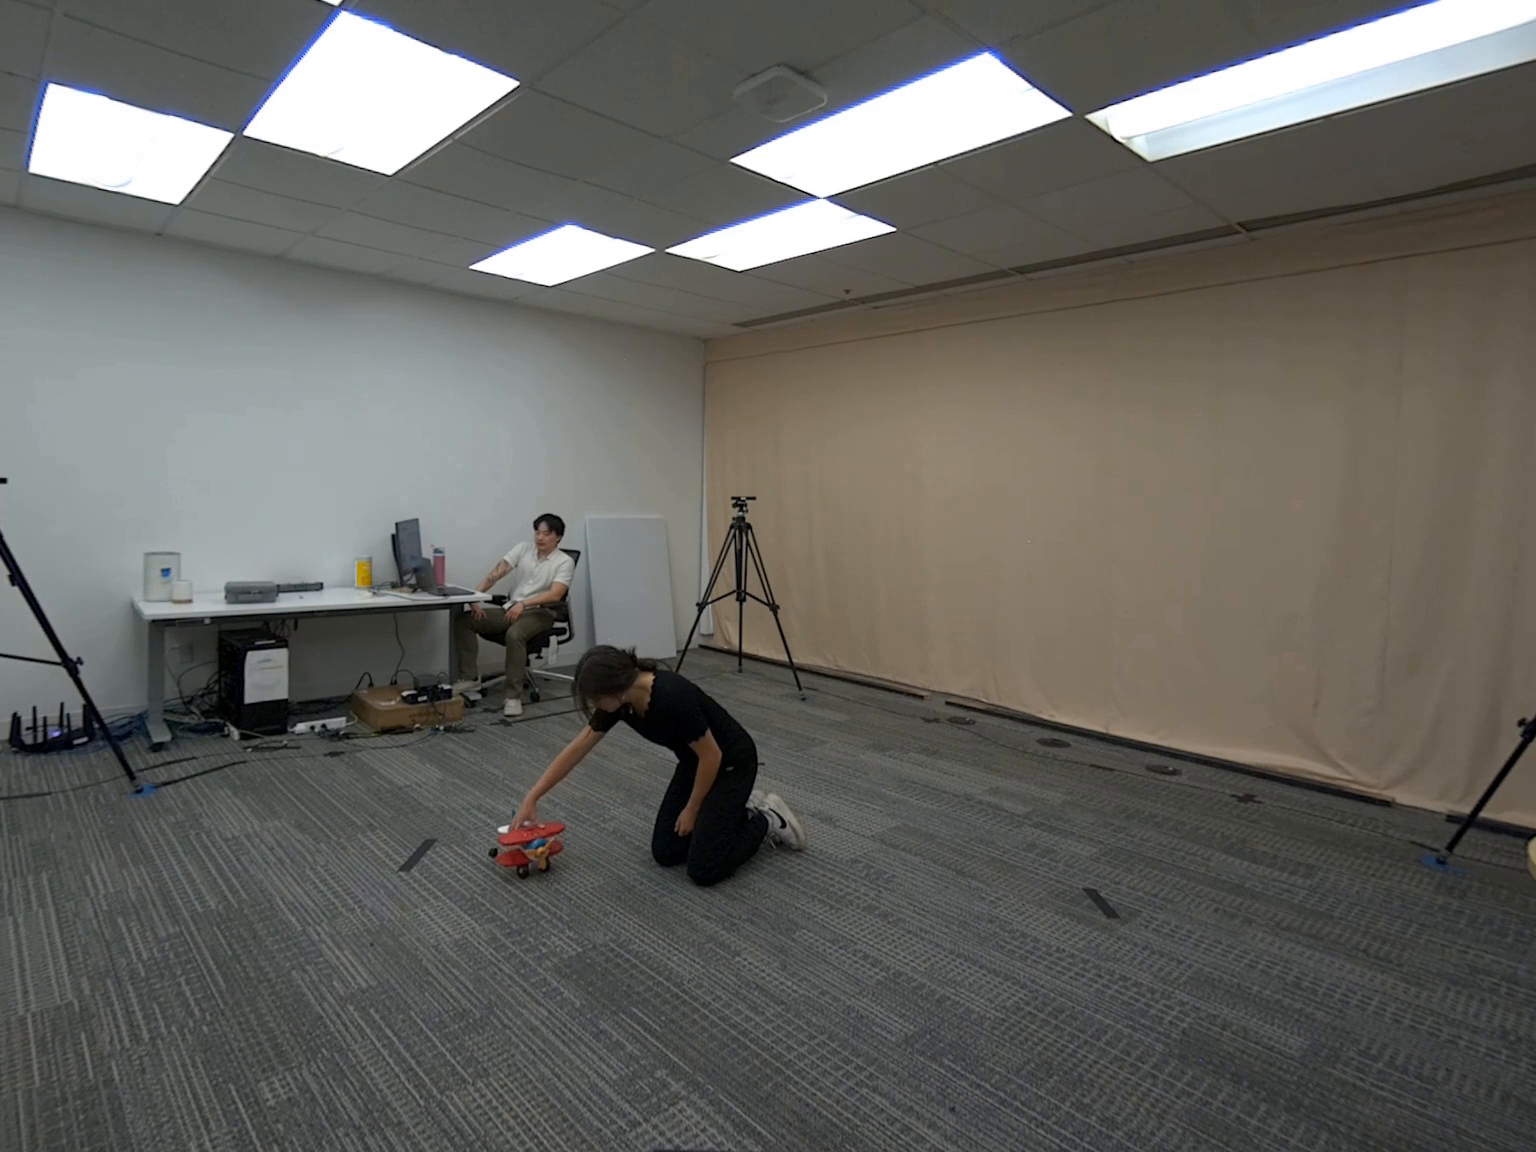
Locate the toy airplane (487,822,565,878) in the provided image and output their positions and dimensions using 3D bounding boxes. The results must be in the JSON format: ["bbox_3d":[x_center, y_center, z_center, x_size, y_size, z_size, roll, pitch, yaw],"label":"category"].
[{"bbox_3d":[-0.912,0.994,3.100,0.264,0.155,0.249,21,20,17],"label":"toy airplane"}]
